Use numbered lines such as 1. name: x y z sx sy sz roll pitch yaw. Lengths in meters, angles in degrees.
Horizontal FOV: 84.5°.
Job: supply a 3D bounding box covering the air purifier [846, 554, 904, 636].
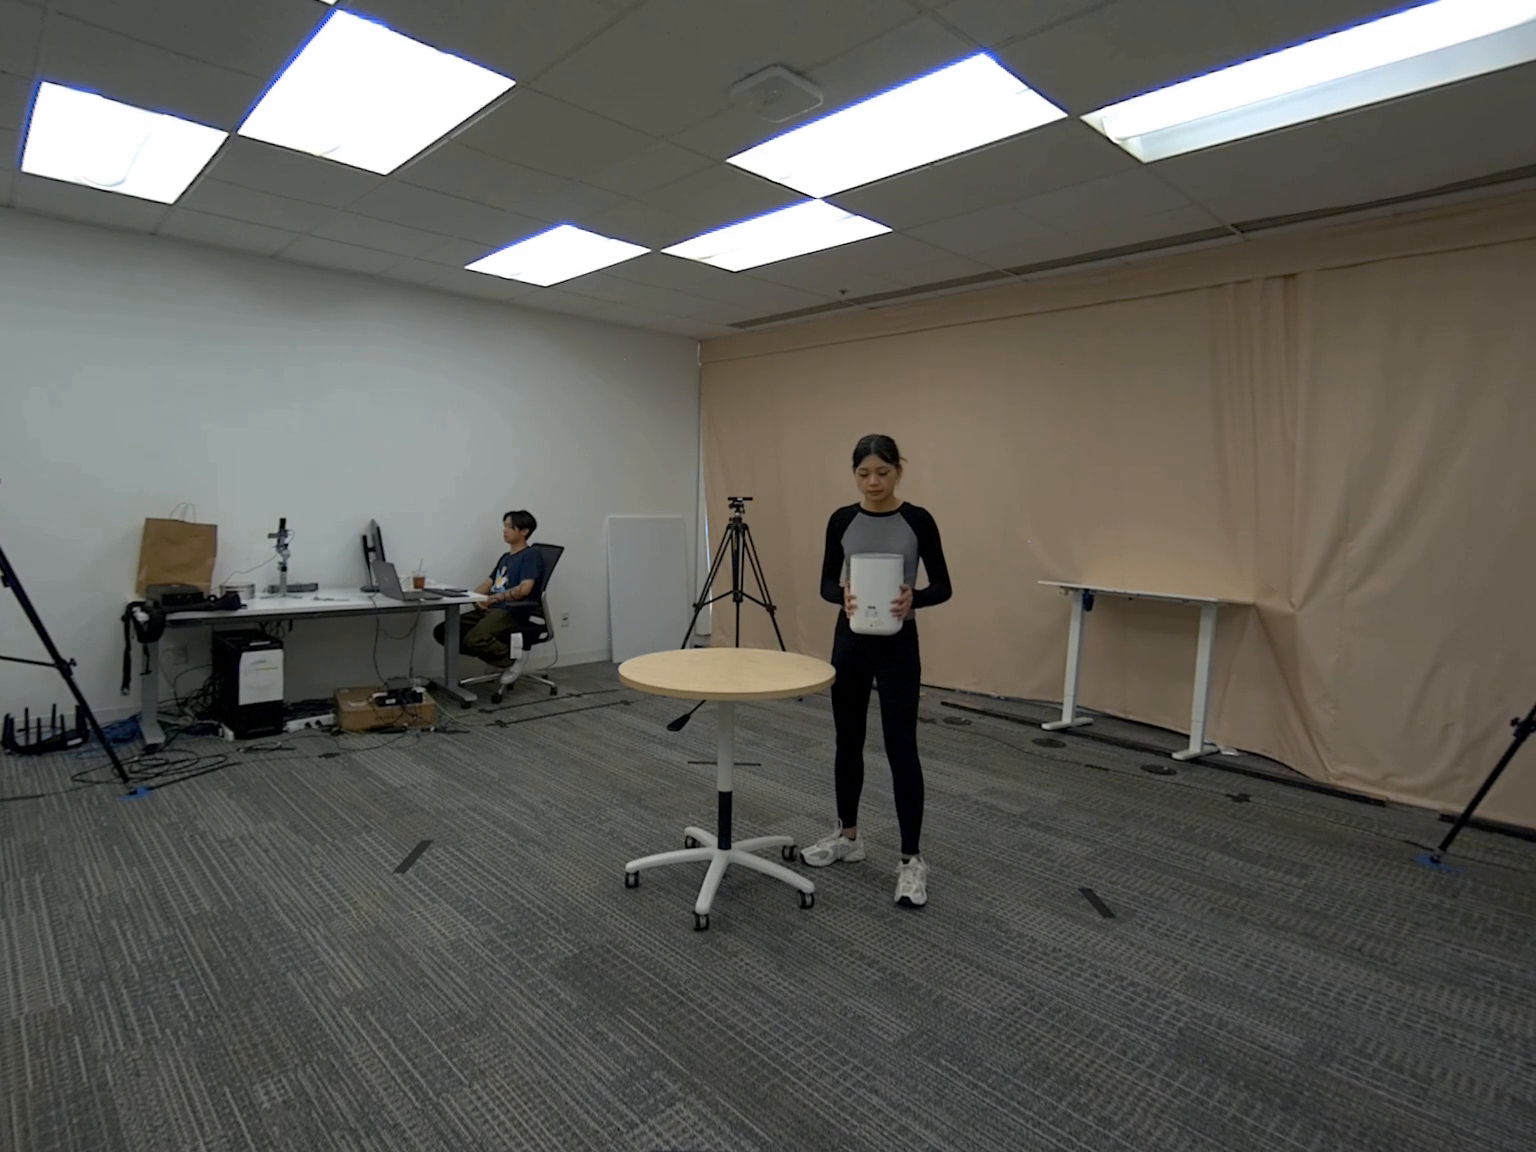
1. air purifier: 0.367 0.062 2.891 0.173 0.264 0.170 2 5 16
